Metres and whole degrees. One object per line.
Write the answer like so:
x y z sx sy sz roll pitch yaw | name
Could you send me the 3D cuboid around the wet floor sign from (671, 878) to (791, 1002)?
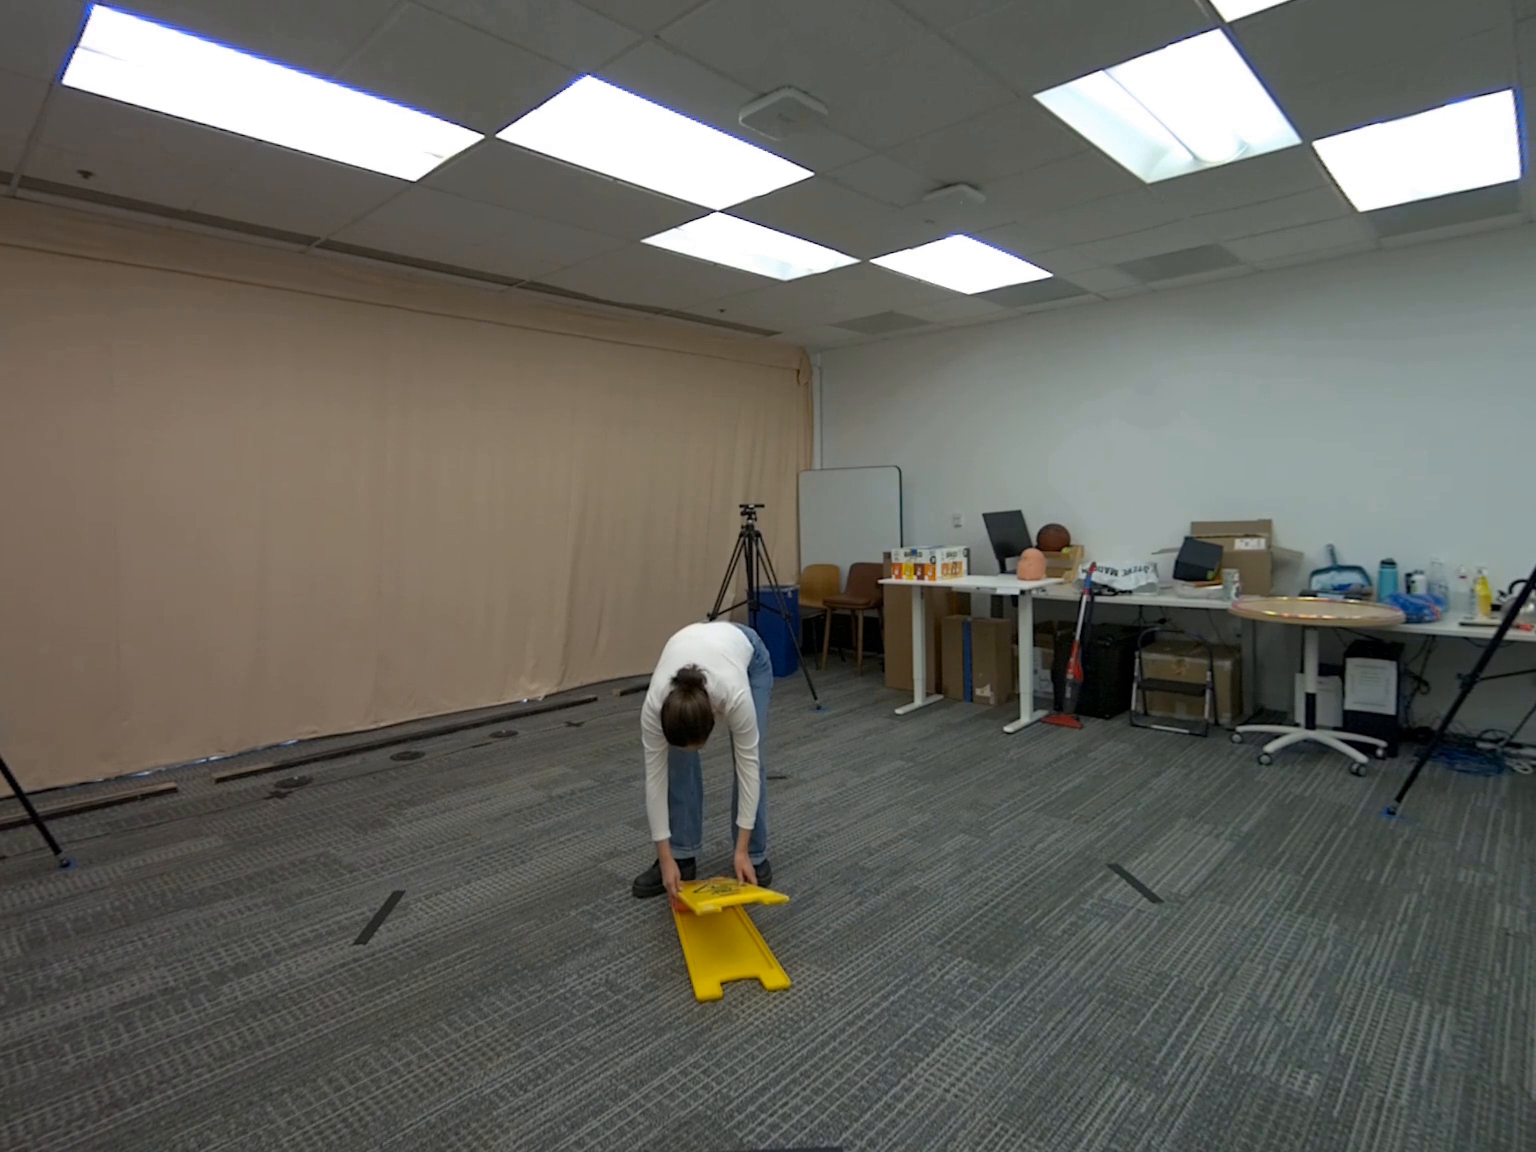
-0.159 1.082 2.706 0.277 0.290 0.655 -1 -3 -18 | wet floor sign
